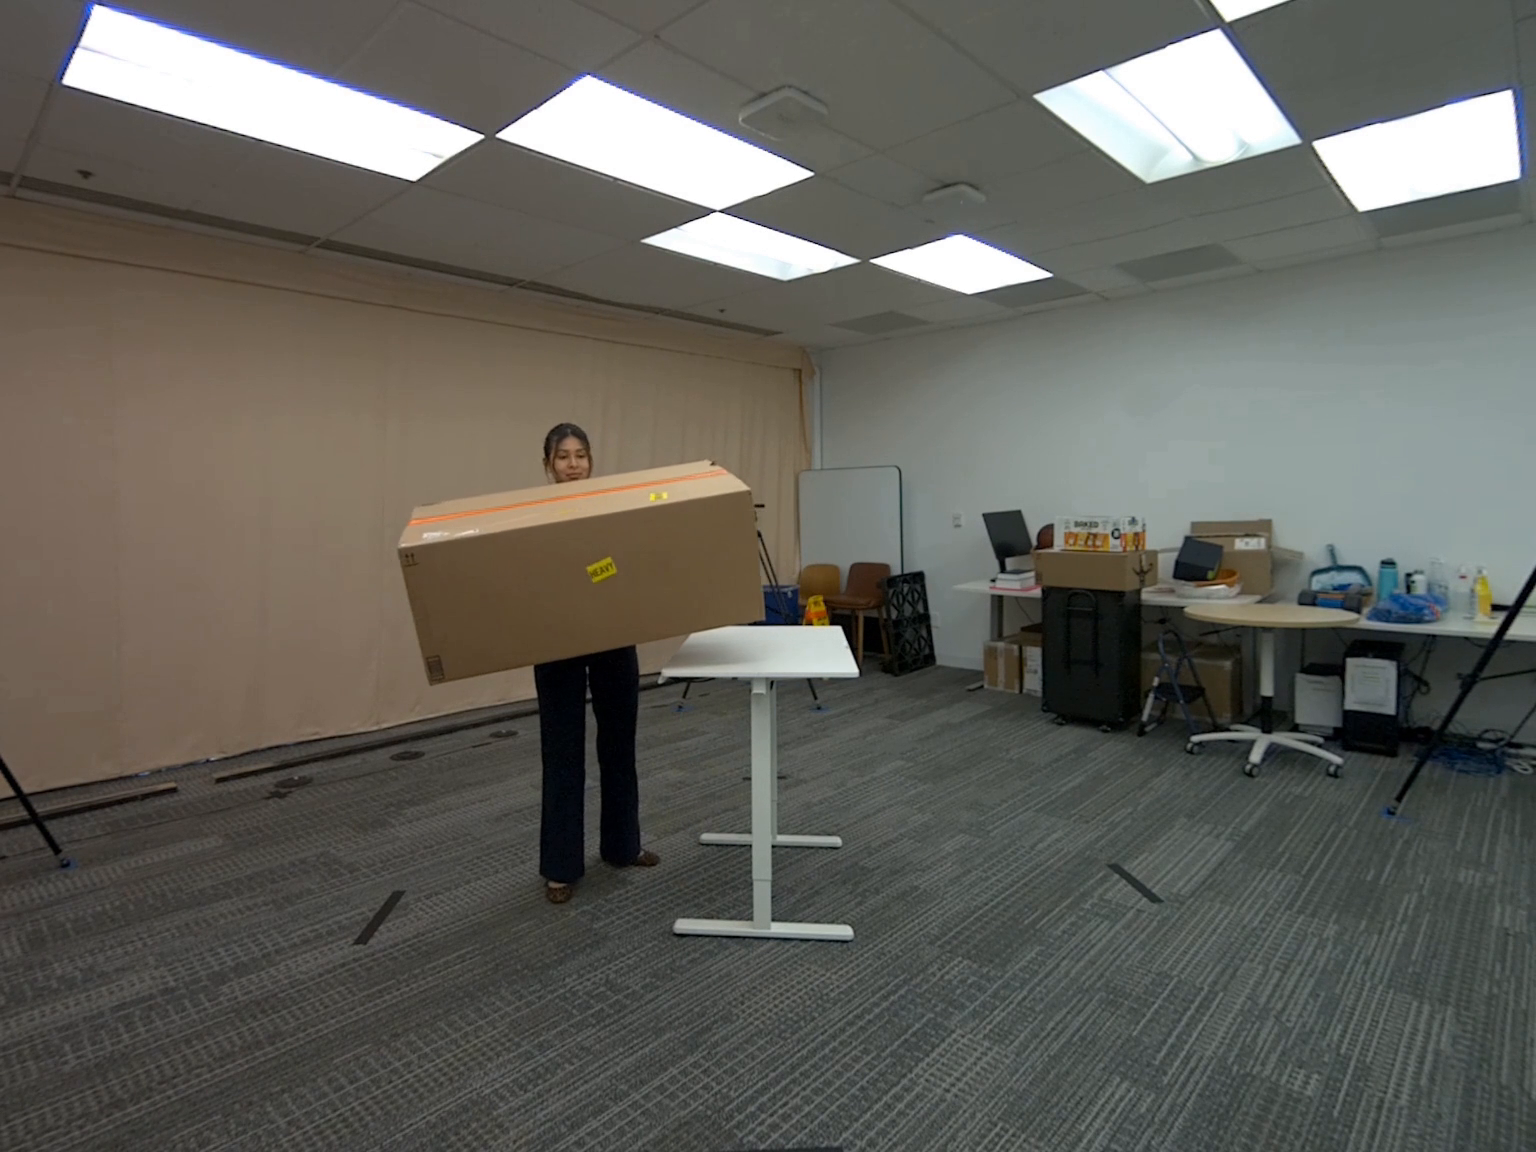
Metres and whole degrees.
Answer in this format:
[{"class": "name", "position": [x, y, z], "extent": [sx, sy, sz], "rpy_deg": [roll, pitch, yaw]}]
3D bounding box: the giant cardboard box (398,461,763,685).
[{"class": "giant cardboard box", "position": [-0.592, -0.053, 2.731], "extent": [1.015, 0.421, 0.591], "rpy_deg": [-10, 19, -12]}]
